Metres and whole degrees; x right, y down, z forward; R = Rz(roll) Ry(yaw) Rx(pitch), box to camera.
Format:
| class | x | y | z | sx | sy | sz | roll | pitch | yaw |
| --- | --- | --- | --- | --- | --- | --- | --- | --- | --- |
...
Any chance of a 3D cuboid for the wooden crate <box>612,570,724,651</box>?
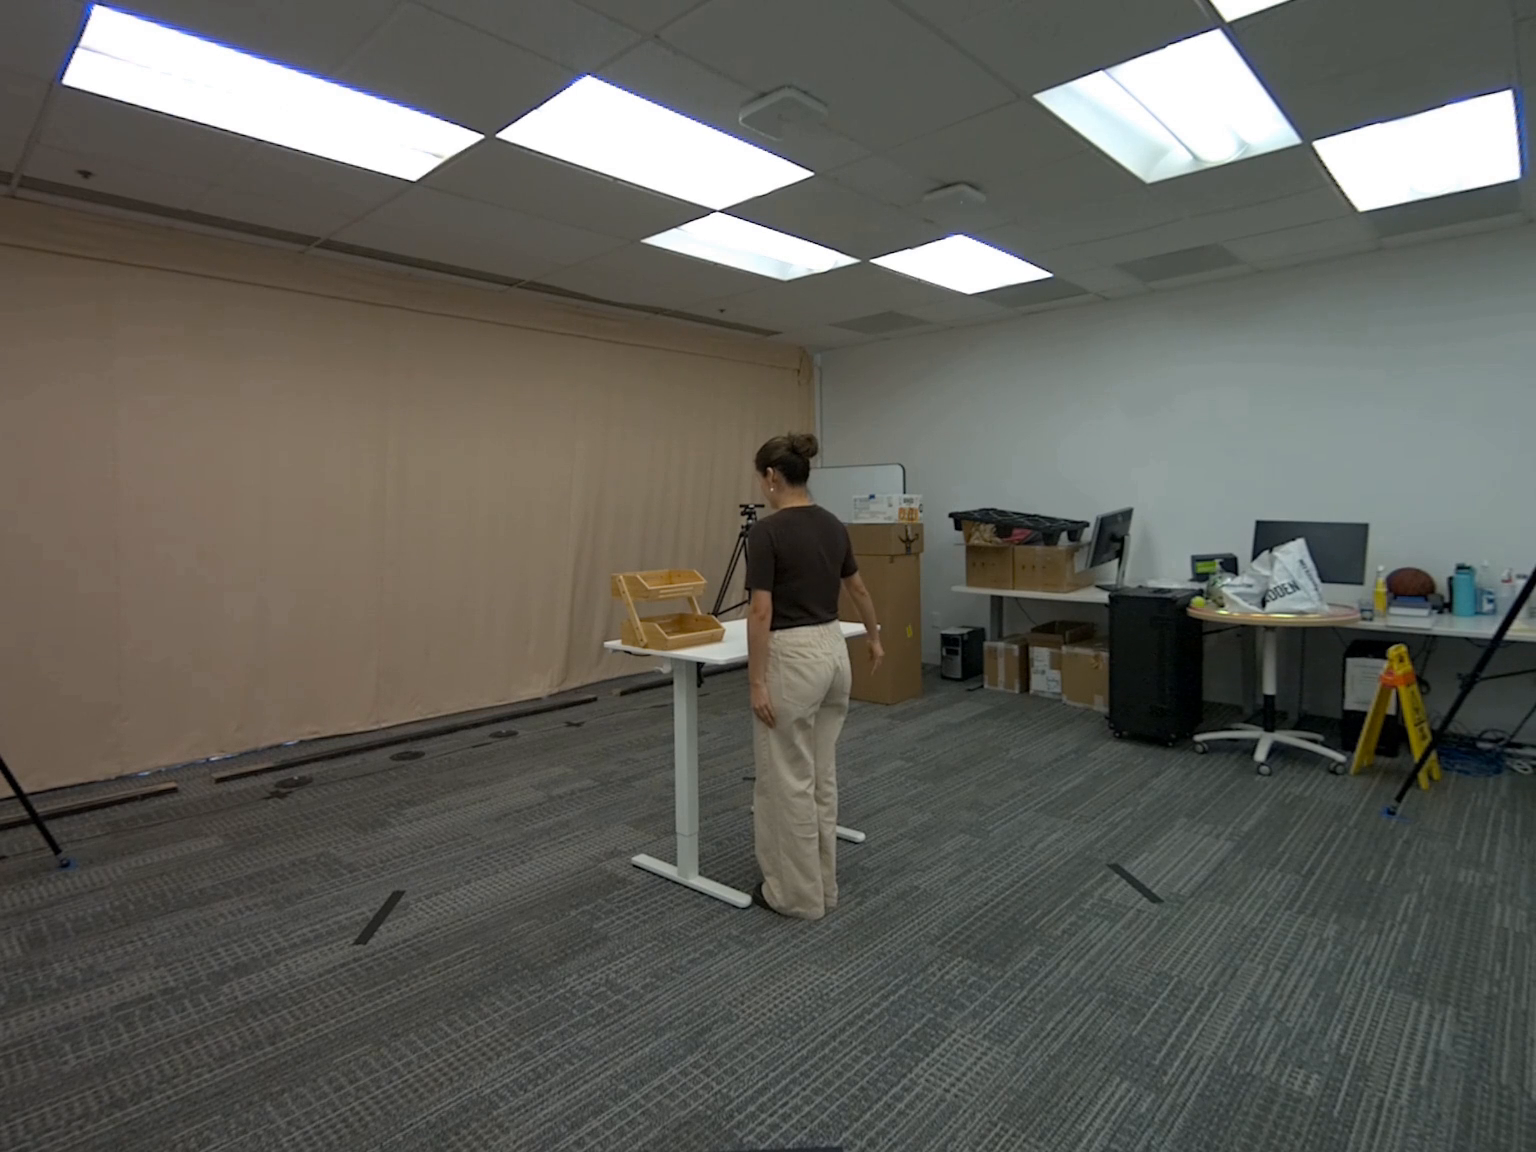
| class | x | y | z | sx | sy | sz | roll | pitch | yaw |
| --- | --- | --- | --- | --- | --- | --- | --- | --- | --- |
| wooden crate | -0.367 | 0.115 | 3.142 | 0.312 | 0.273 | 0.314 | 1 | 4 | 41 |
